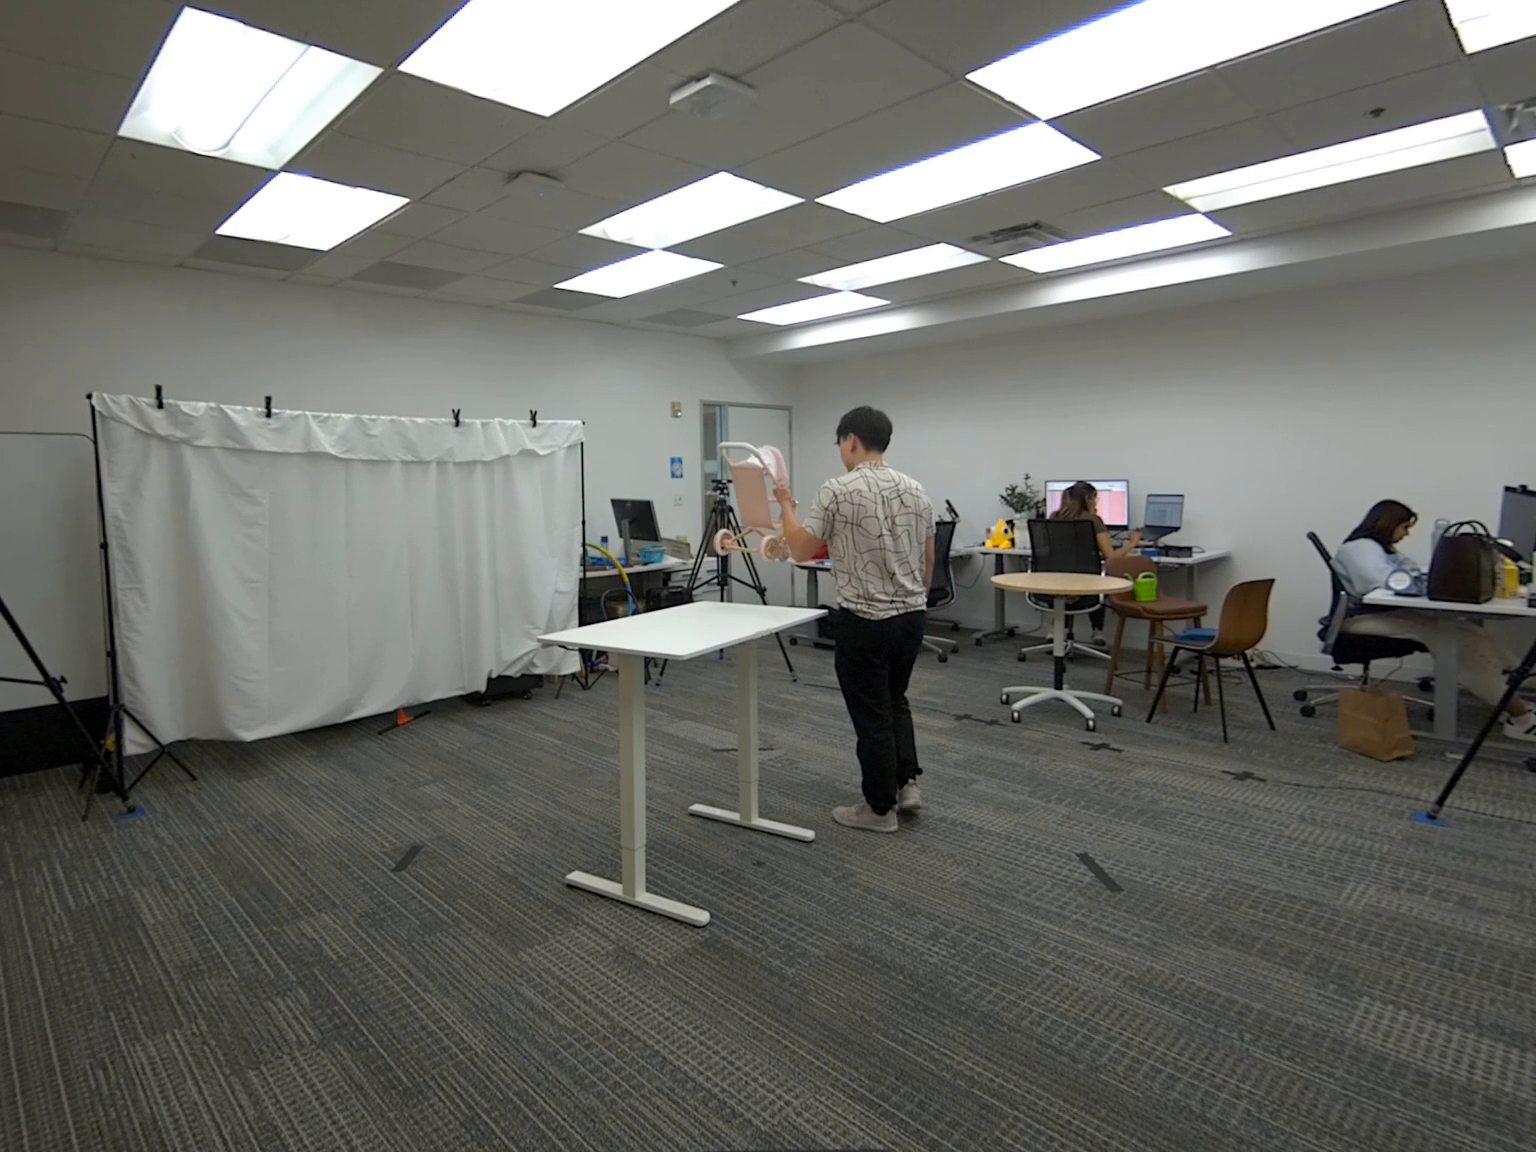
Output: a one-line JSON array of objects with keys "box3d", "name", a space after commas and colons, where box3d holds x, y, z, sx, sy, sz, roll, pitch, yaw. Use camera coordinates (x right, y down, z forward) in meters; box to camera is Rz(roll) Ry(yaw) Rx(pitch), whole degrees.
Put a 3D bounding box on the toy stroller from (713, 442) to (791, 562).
[{"box3d": [-0.020, -0.297, 3.542, 0.290, 0.530, 0.334, 7, 15, 43], "name": "toy stroller"}]
